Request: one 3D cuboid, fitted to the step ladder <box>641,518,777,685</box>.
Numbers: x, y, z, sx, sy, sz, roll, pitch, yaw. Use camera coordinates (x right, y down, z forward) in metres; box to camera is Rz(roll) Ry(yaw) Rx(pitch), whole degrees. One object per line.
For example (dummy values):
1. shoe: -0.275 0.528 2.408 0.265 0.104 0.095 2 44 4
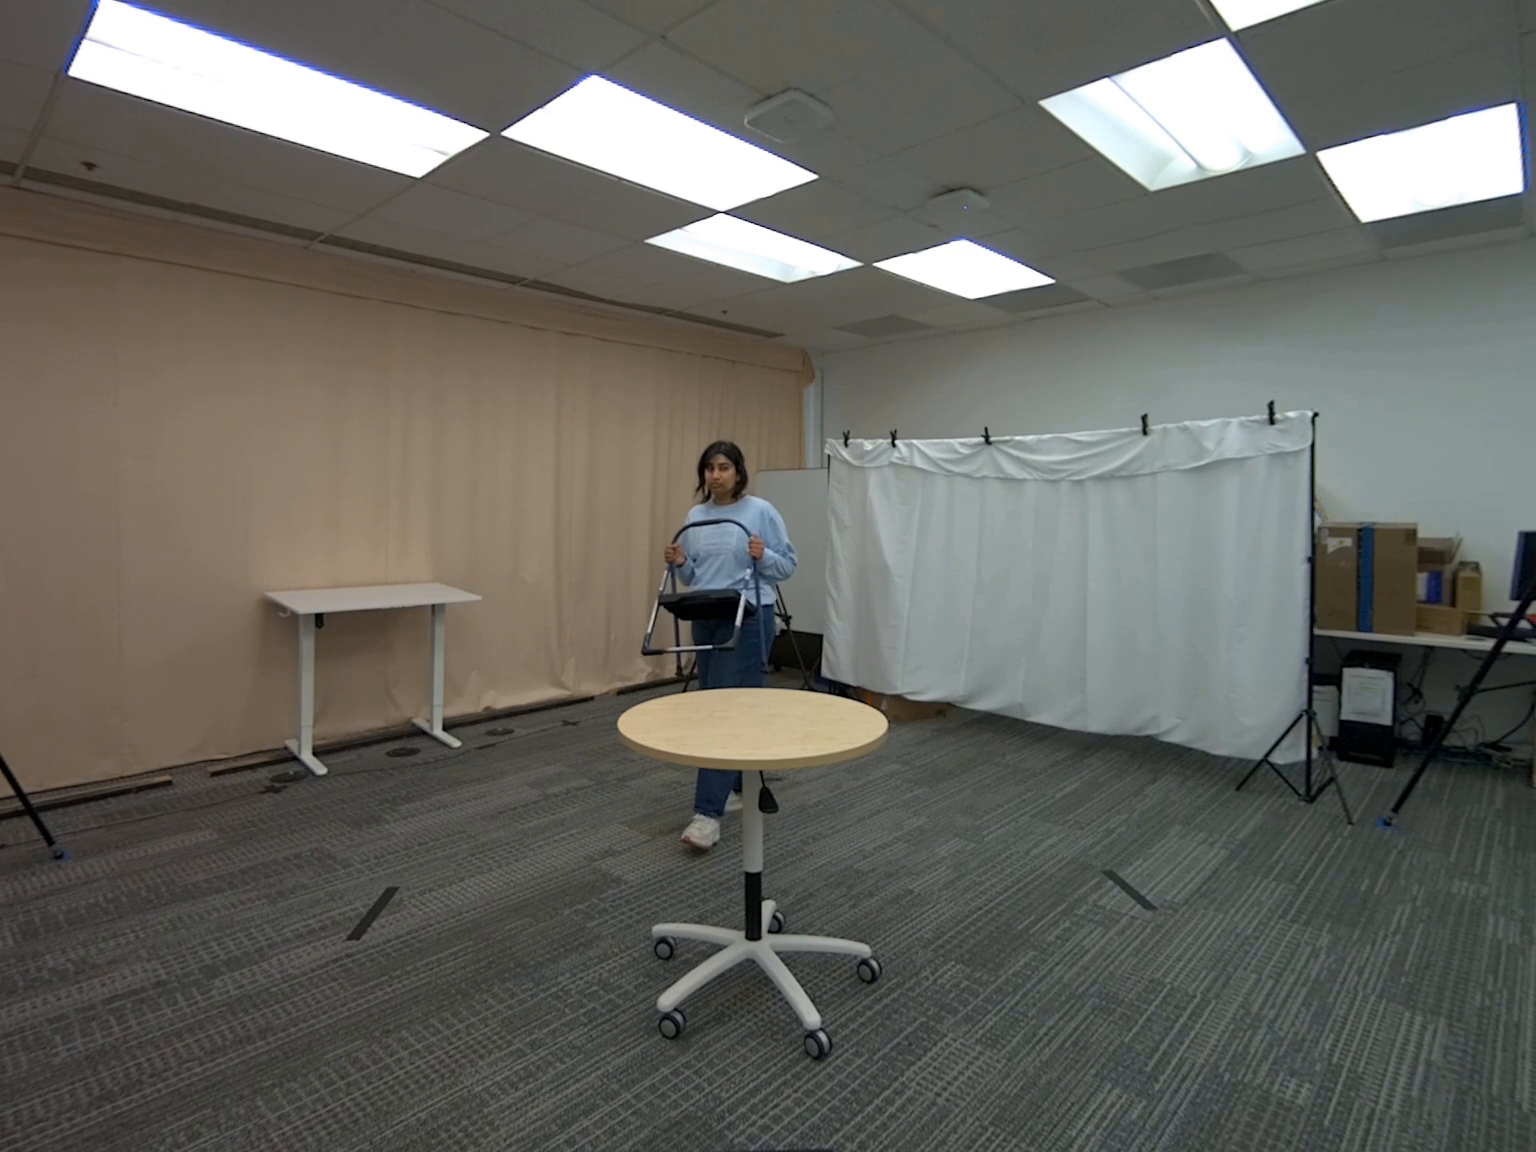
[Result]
1. step ladder: -0.239 0.070 3.516 0.440 0.613 0.337 -6 -25 24
